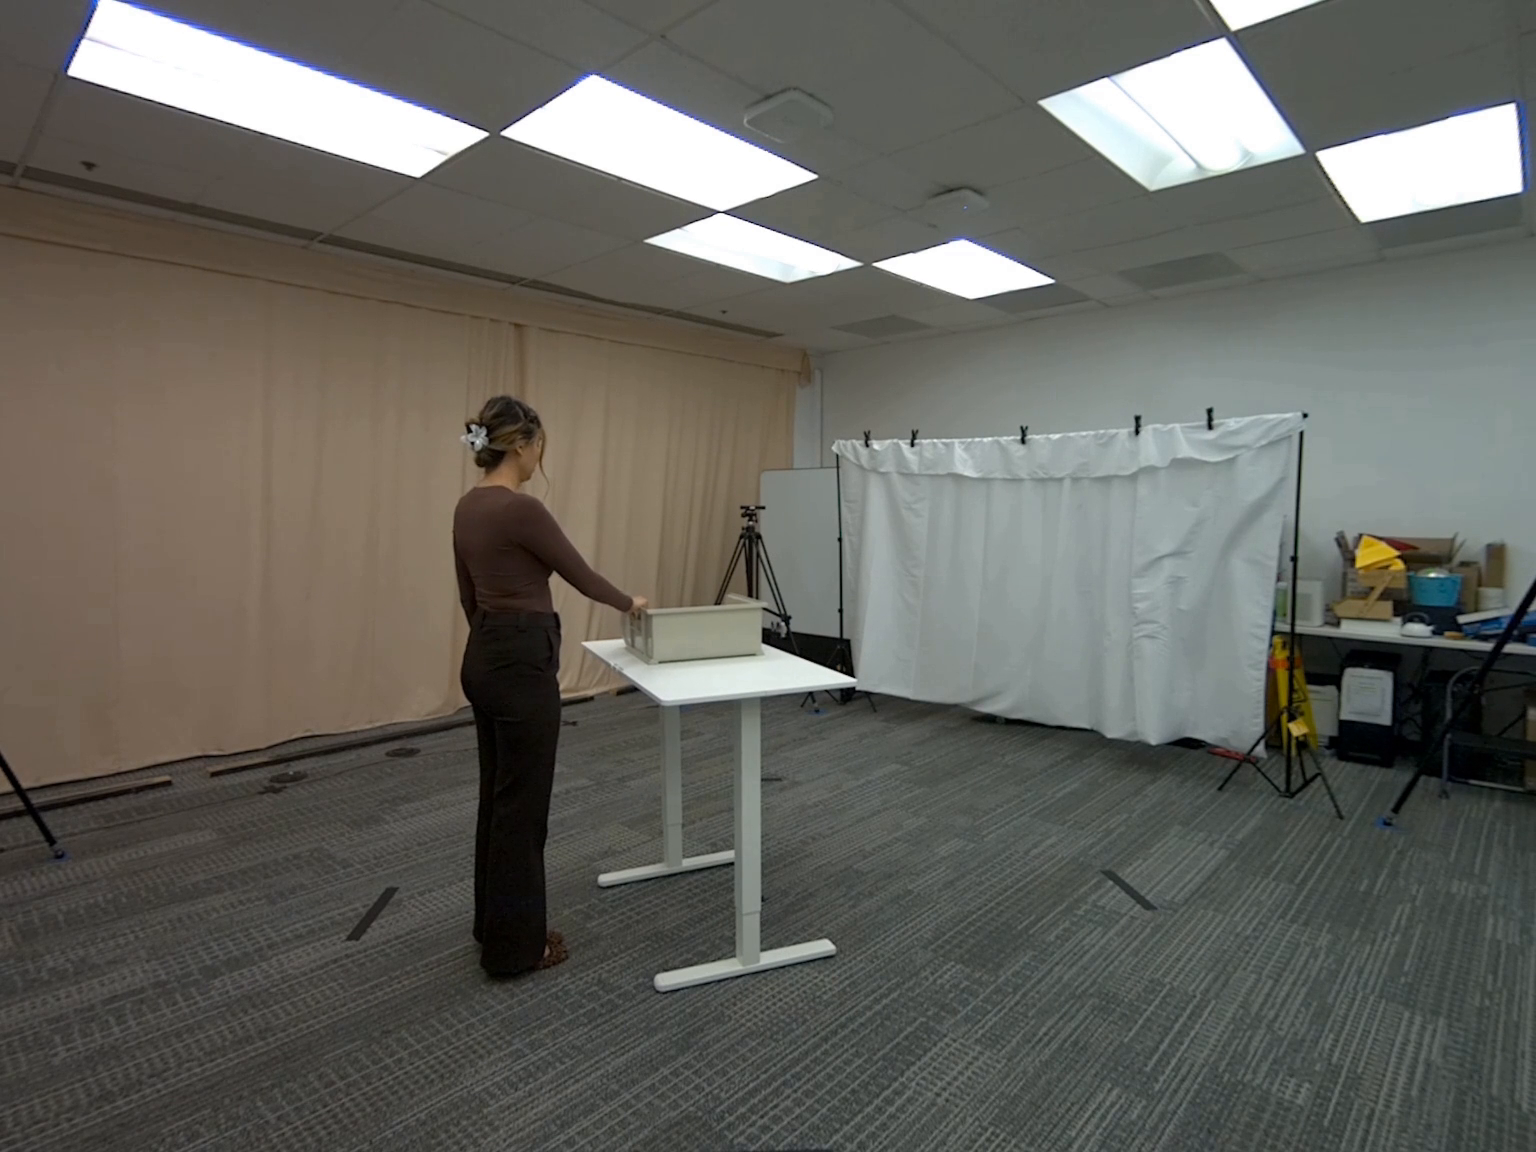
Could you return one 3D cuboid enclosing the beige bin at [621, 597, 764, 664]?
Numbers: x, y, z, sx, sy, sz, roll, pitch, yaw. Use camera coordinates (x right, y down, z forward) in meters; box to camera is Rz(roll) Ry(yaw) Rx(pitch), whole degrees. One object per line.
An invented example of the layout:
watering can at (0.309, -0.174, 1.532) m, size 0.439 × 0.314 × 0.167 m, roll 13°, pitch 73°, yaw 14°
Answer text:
beige bin at (-0.270, 0.177, 2.940) m, size 0.413 × 0.188 × 0.387 m, roll -2°, pitch 6°, yaw -23°
